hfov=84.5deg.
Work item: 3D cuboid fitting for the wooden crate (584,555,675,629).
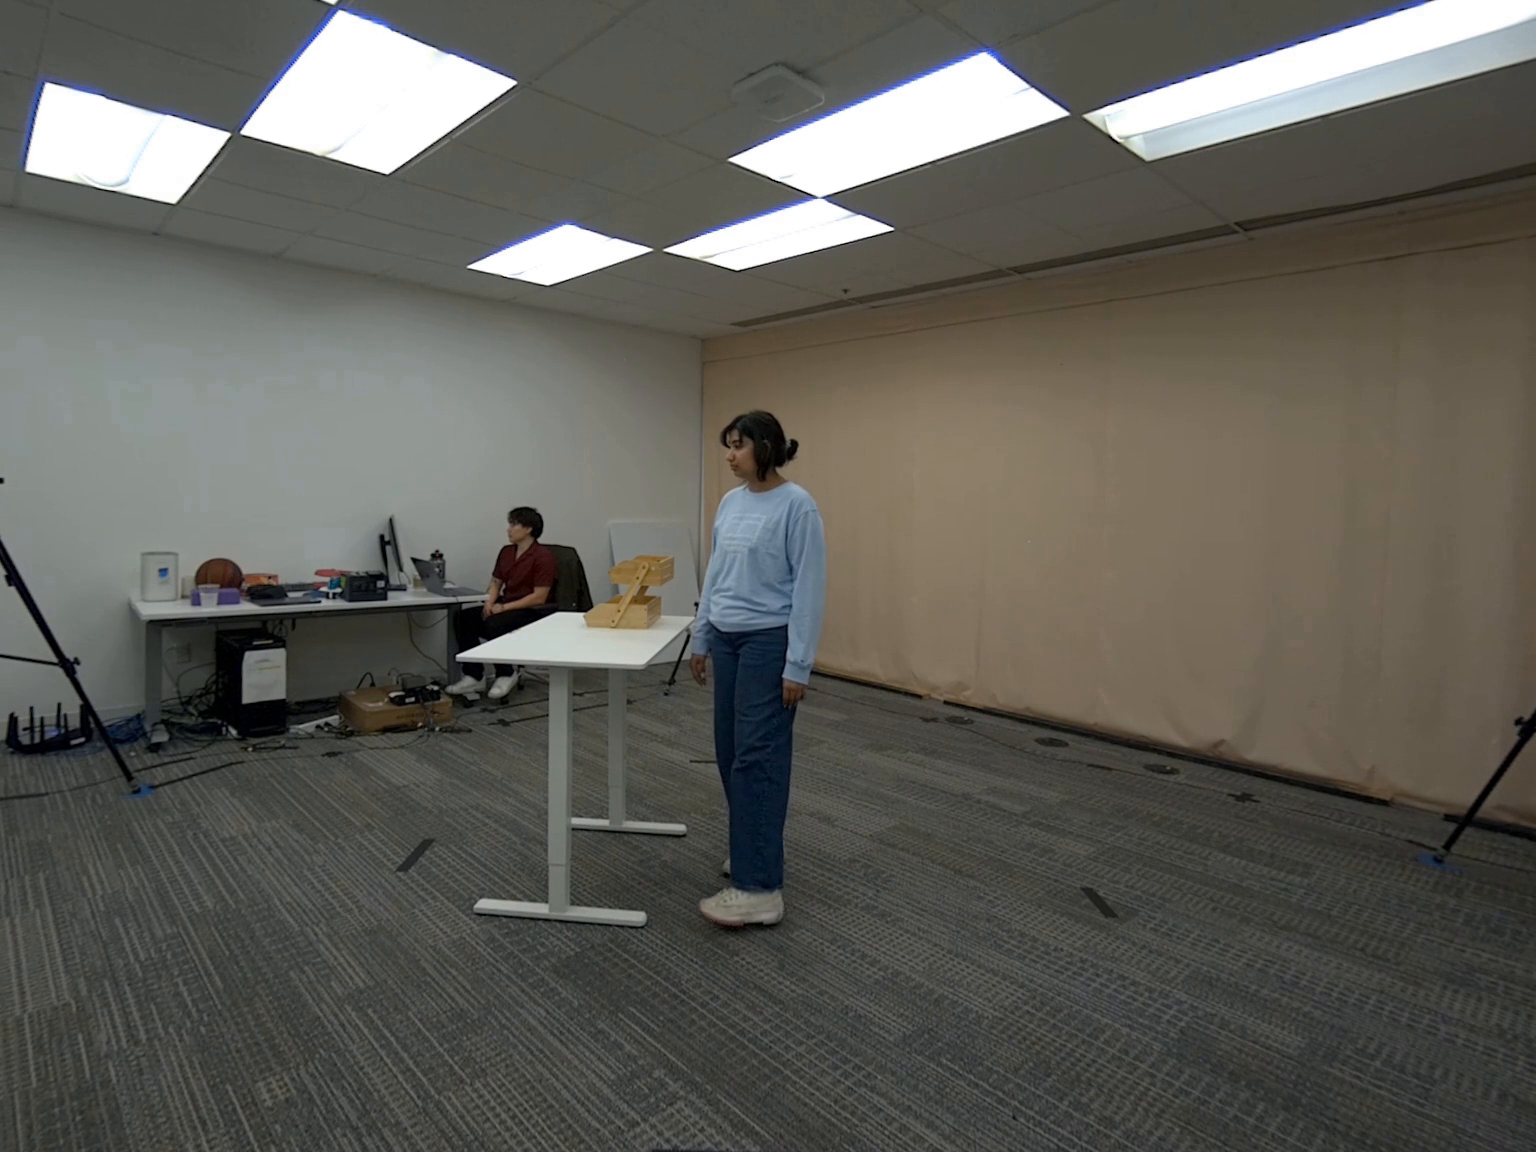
[{"bbox_3d":[-0.565,0.053,3.363,0.303,0.272,0.324,3,5,4],"label":"wooden crate"}]
